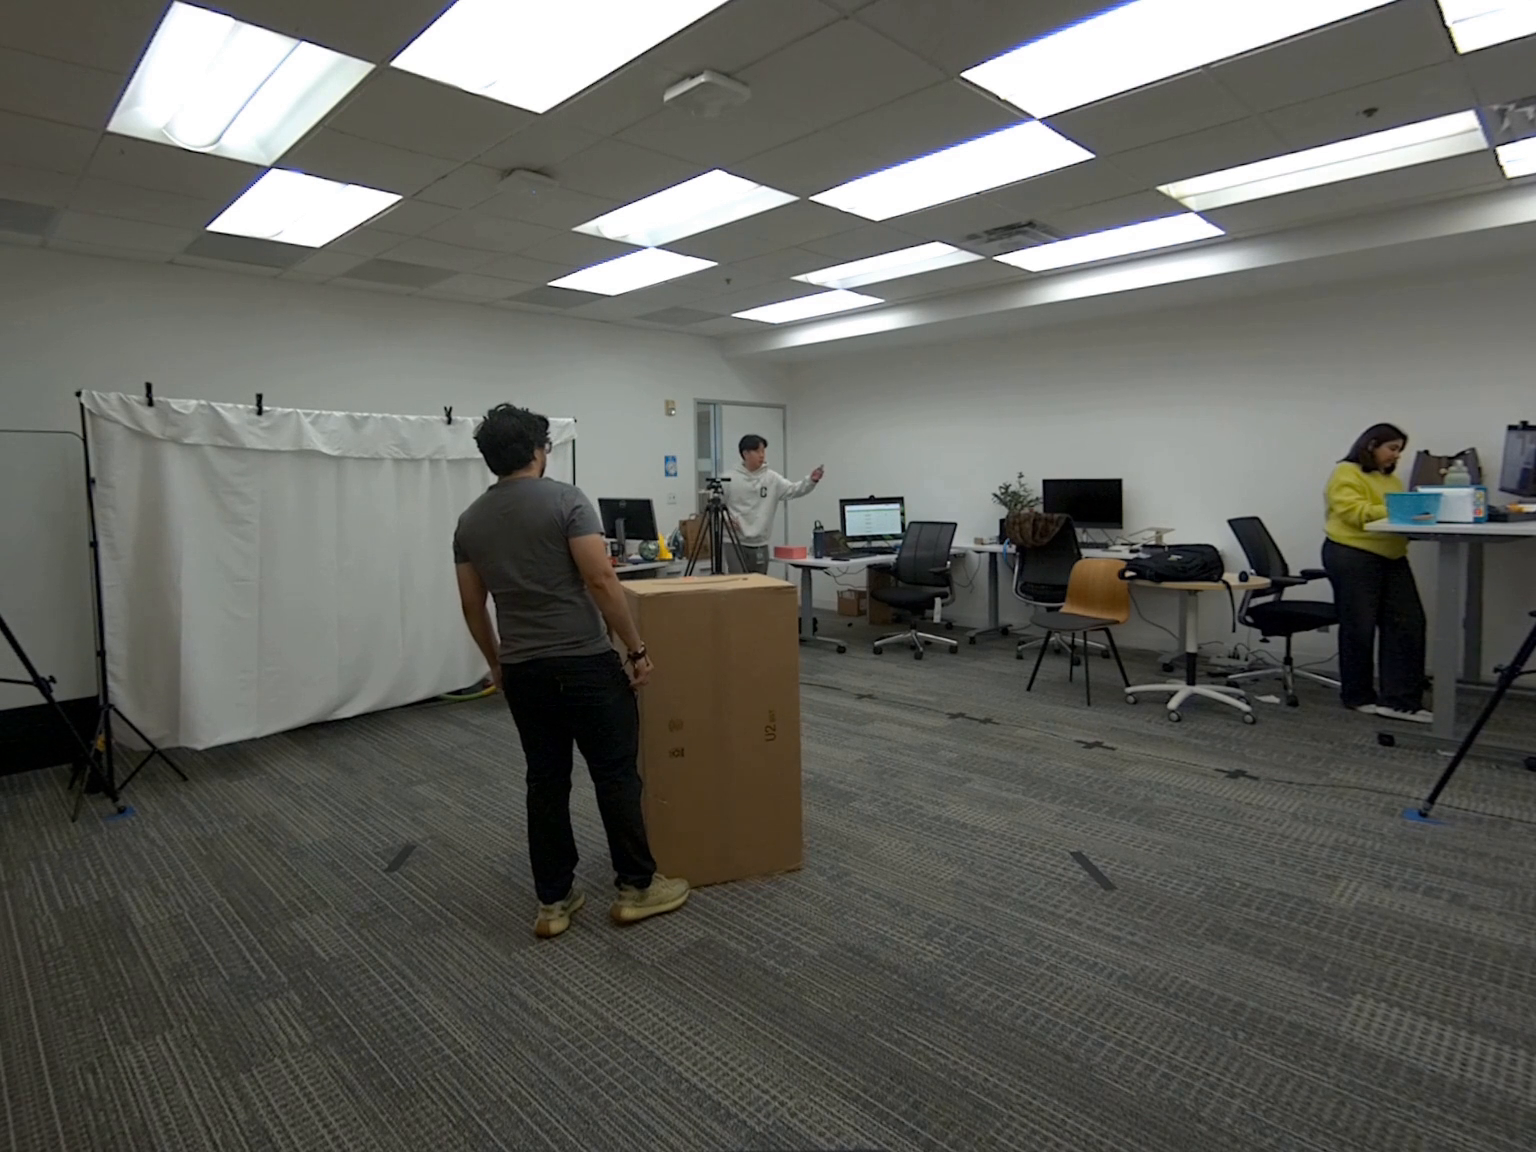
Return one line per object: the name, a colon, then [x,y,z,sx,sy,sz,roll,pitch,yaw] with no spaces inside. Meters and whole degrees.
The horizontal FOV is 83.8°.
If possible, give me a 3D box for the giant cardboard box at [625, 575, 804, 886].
giant cardboard box: [-0.224,0.533,3.130,0.573,1.023,0.457,-3,4,-21]
